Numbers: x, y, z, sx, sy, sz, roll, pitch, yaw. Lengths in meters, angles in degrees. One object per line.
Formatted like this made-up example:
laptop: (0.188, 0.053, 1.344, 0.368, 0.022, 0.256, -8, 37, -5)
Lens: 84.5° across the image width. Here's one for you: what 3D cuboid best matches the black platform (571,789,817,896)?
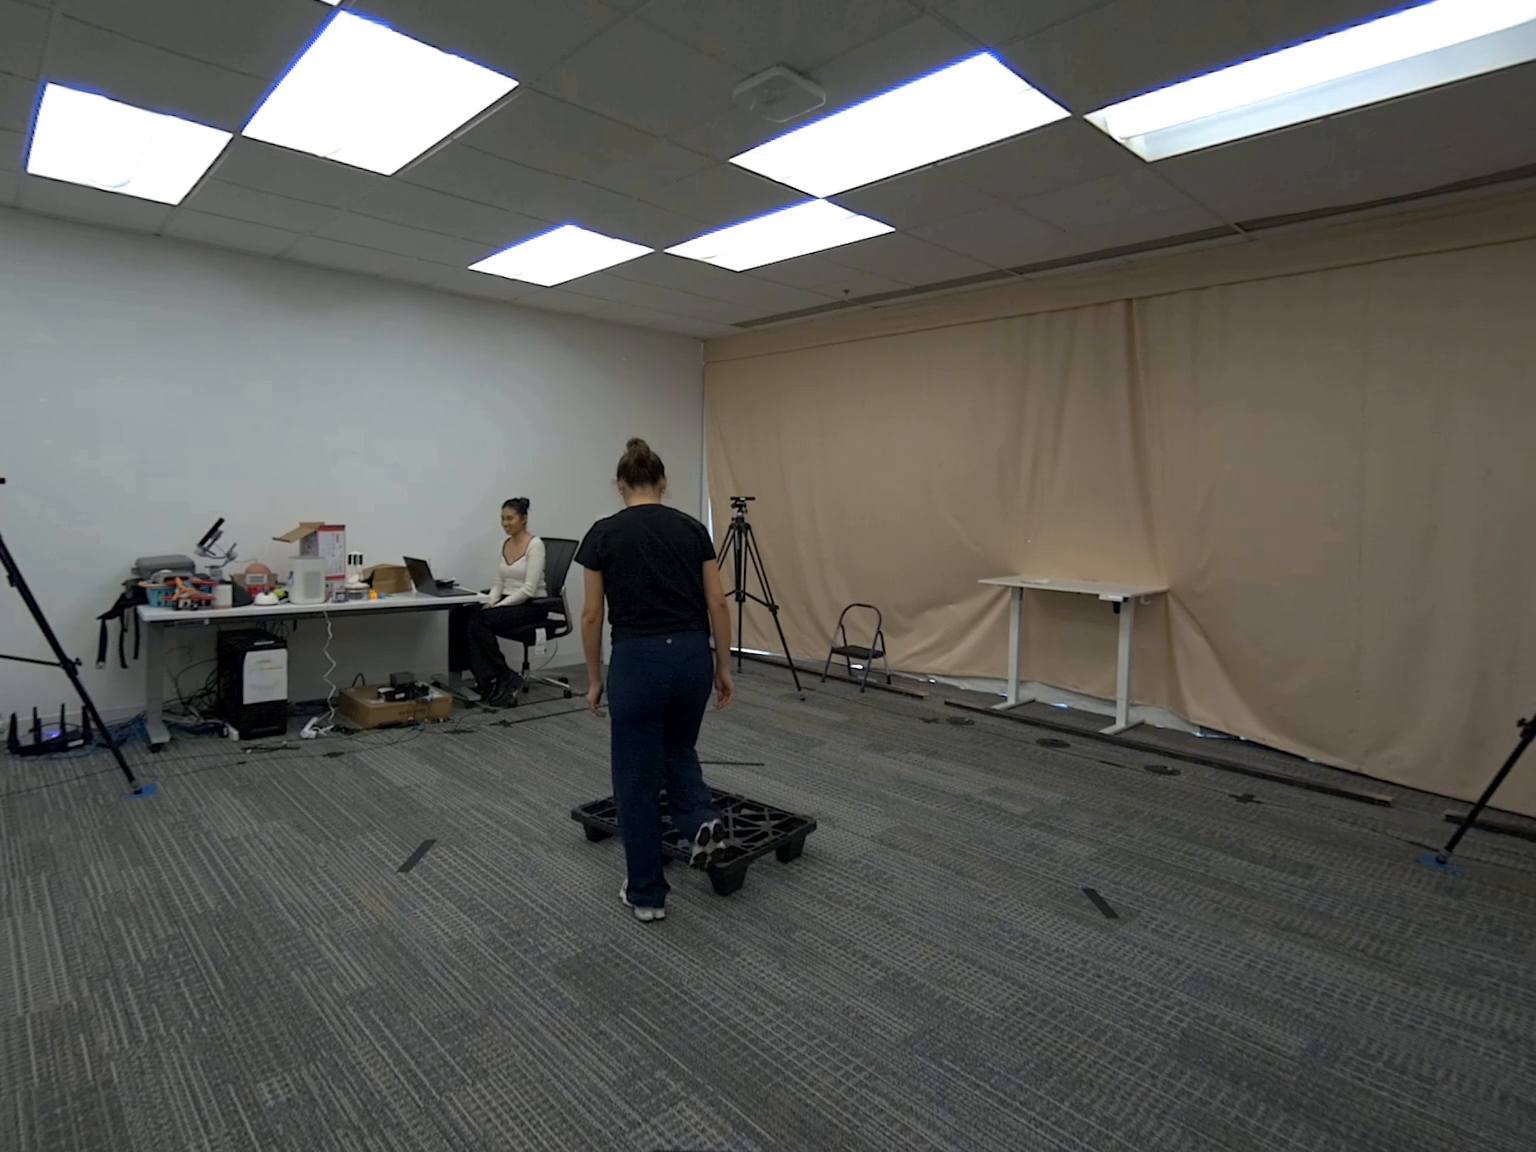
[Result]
black platform: (-0.301, 1.017, 3.324, 0.825, 0.143, 0.592, 5, 7, 38)
